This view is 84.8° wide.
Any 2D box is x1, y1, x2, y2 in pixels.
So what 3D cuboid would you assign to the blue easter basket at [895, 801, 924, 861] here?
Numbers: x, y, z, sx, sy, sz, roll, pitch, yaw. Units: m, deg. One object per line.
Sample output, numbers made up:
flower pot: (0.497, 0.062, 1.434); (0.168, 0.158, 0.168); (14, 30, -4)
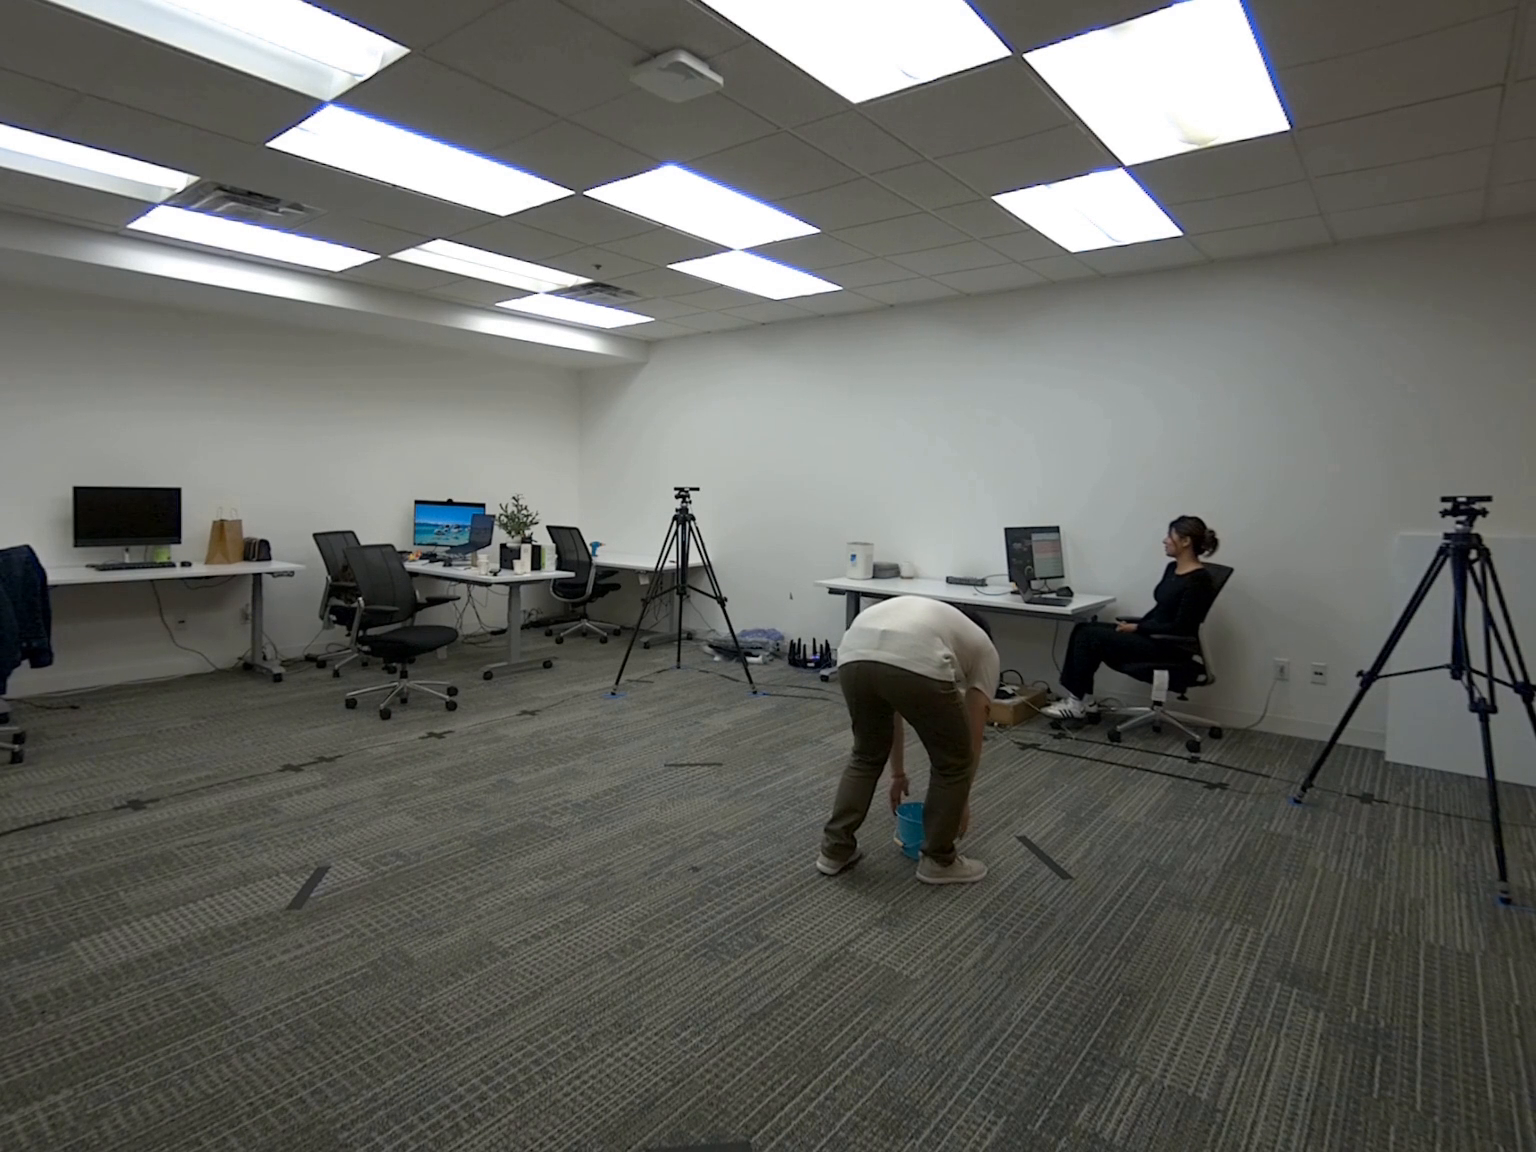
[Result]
blue easter basket: (0.592, 0.985, 3.302); (0.243, 0.155, 0.245); (1, 6, -2)
